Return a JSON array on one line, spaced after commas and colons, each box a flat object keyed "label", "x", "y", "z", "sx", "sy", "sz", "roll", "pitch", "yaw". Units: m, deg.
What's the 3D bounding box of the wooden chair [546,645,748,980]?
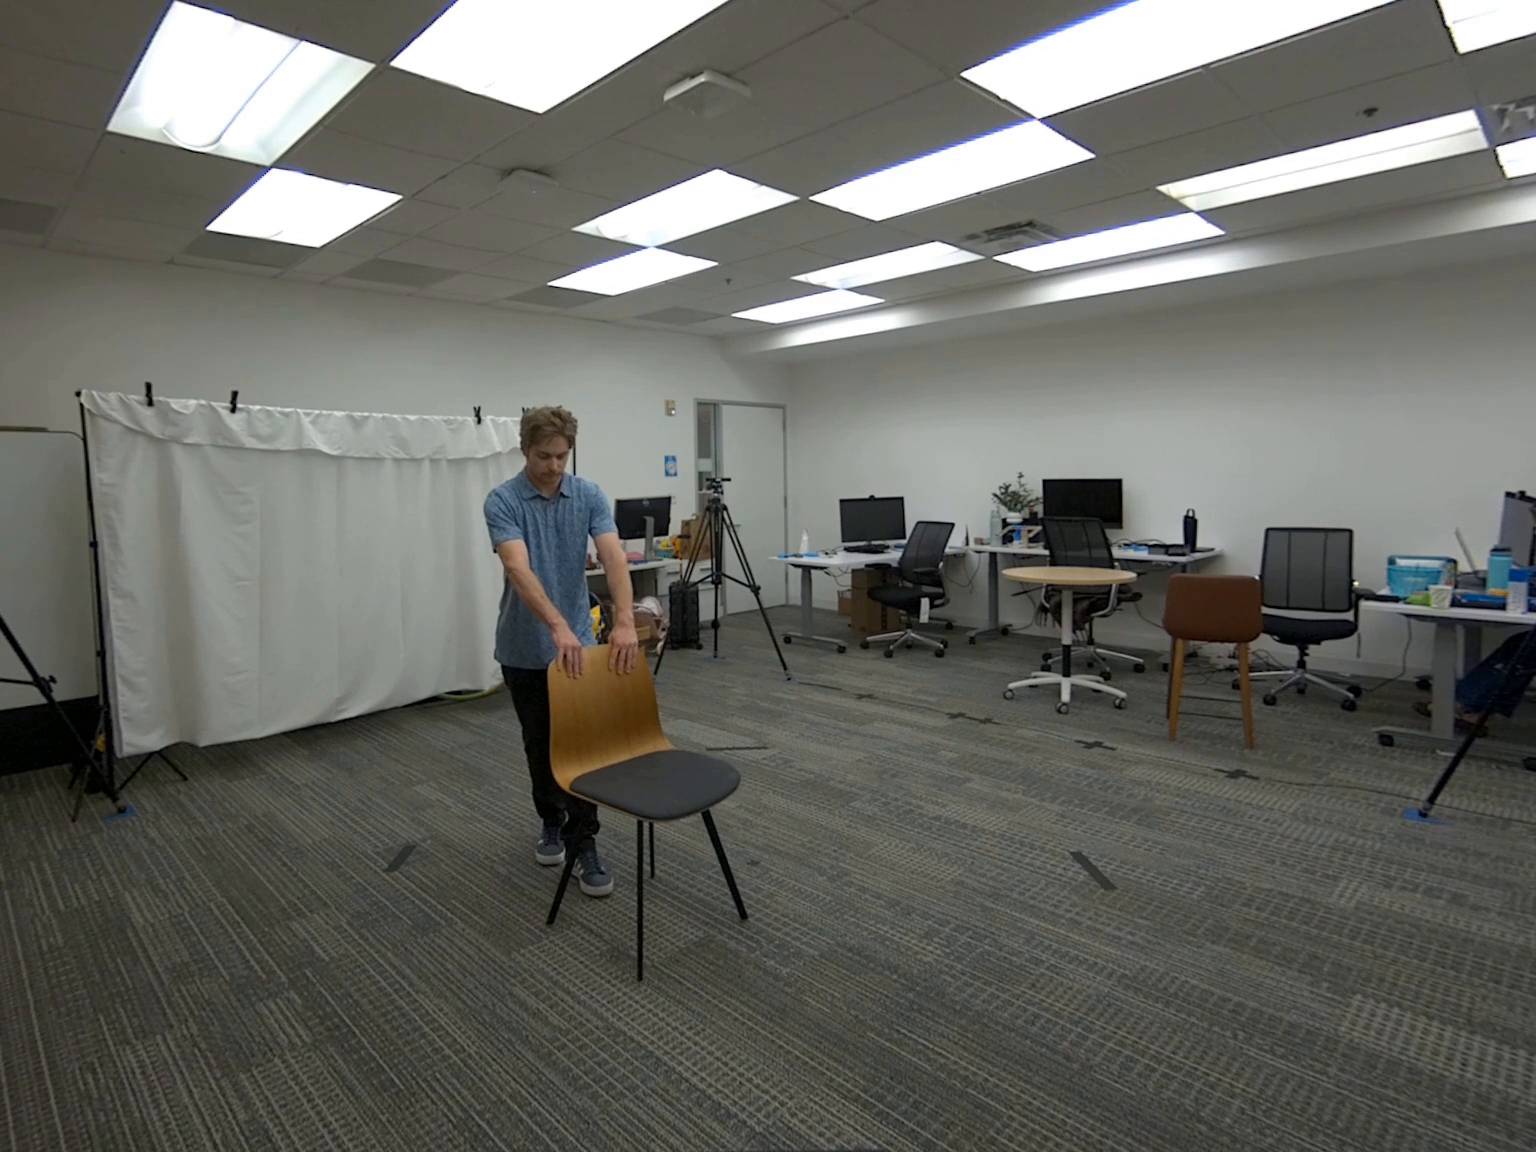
[{"label": "wooden chair", "x": -0.377, "y": 0.670, "z": 2.662, "sx": 0.538, "sy": 0.876, "sz": 0.465, "roll": -2, "pitch": 2, "yaw": 43}]
